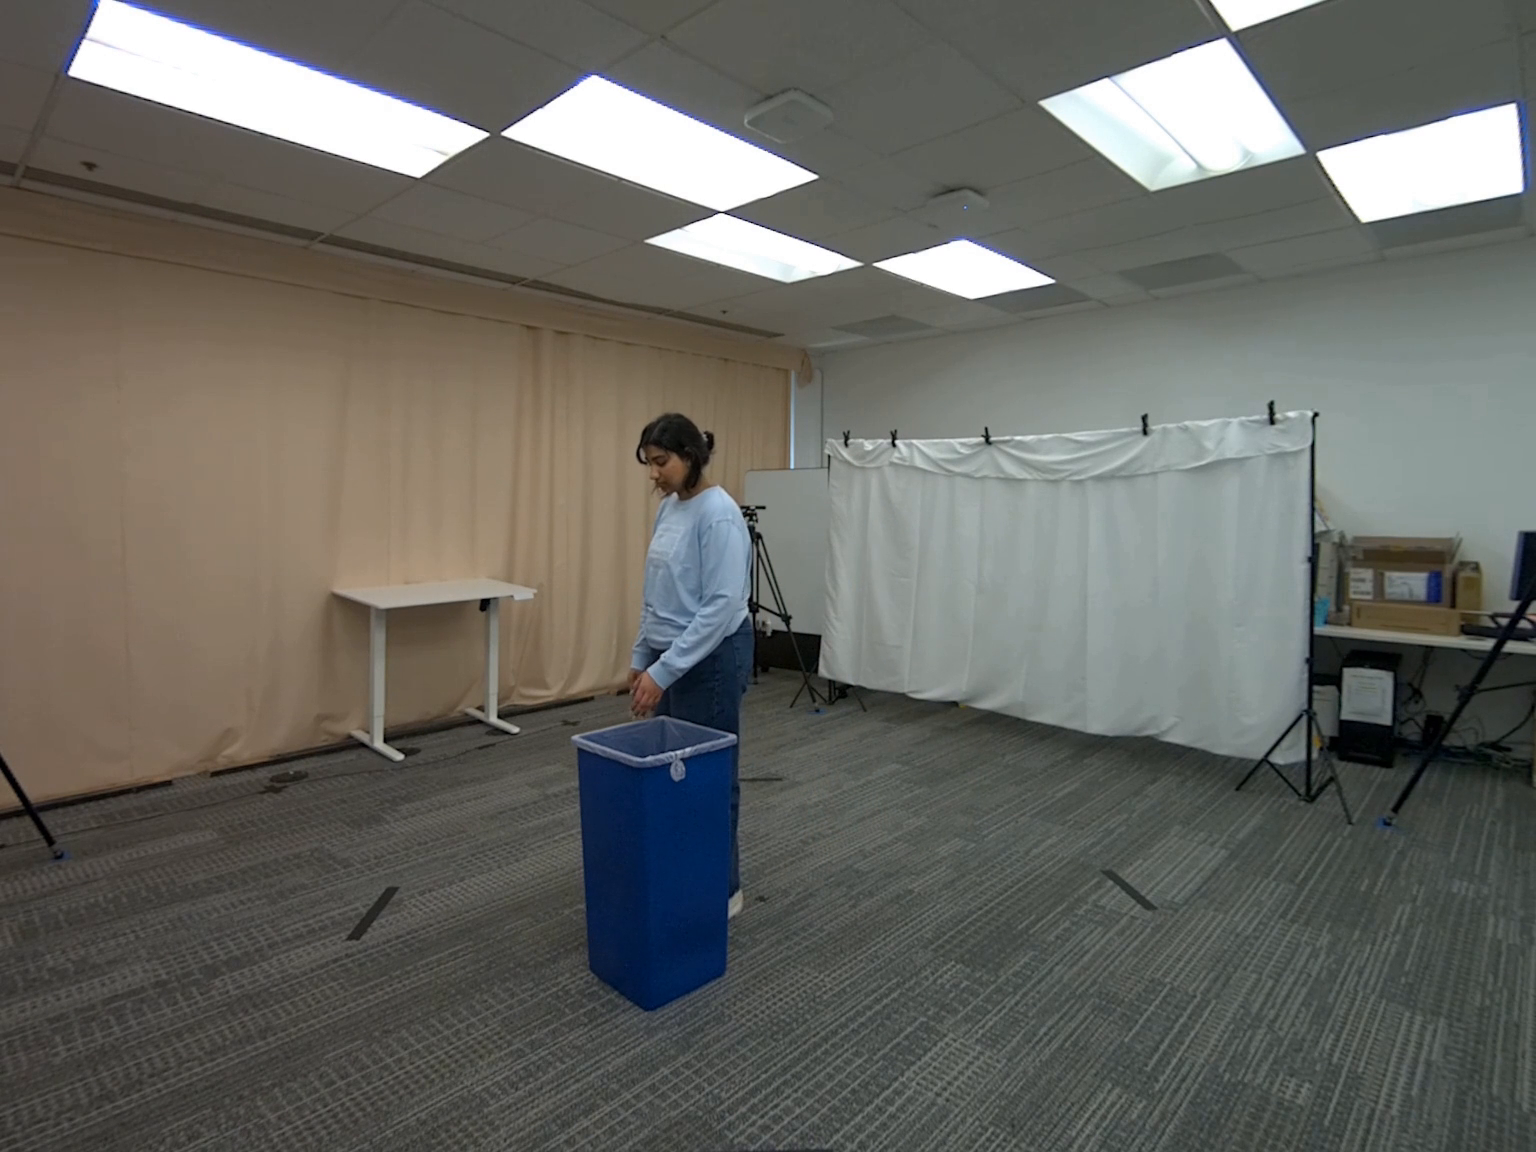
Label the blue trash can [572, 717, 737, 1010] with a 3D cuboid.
[{"bbox_3d":[-0.337,0.826,2.508,0.366,0.712,0.386,-3,4,-44],"label":"blue trash can"}]
